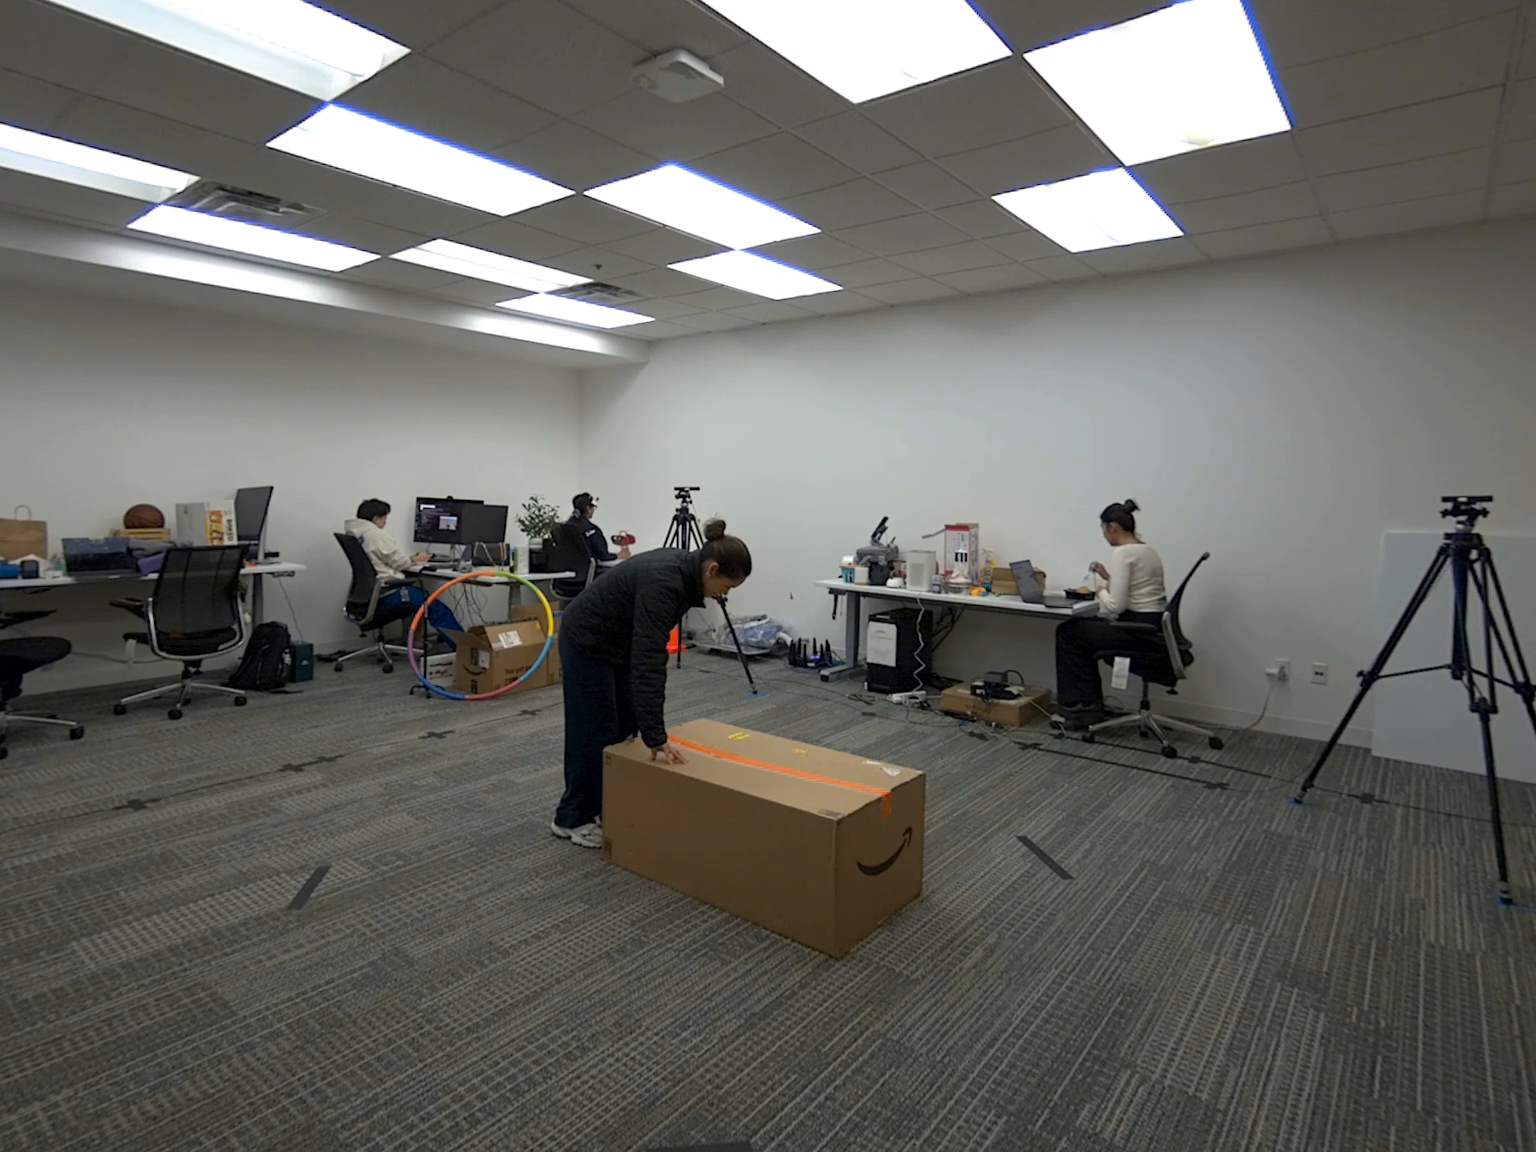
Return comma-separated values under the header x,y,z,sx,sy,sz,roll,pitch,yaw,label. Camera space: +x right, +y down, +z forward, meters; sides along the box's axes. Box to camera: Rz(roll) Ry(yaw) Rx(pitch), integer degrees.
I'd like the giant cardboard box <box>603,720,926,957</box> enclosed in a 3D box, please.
x,y,z,sx,sy,sz,roll,pitch,yaw,label
-0.024,0.867,3.058,1.062,0.444,0.567,6,8,38,giant cardboard box
